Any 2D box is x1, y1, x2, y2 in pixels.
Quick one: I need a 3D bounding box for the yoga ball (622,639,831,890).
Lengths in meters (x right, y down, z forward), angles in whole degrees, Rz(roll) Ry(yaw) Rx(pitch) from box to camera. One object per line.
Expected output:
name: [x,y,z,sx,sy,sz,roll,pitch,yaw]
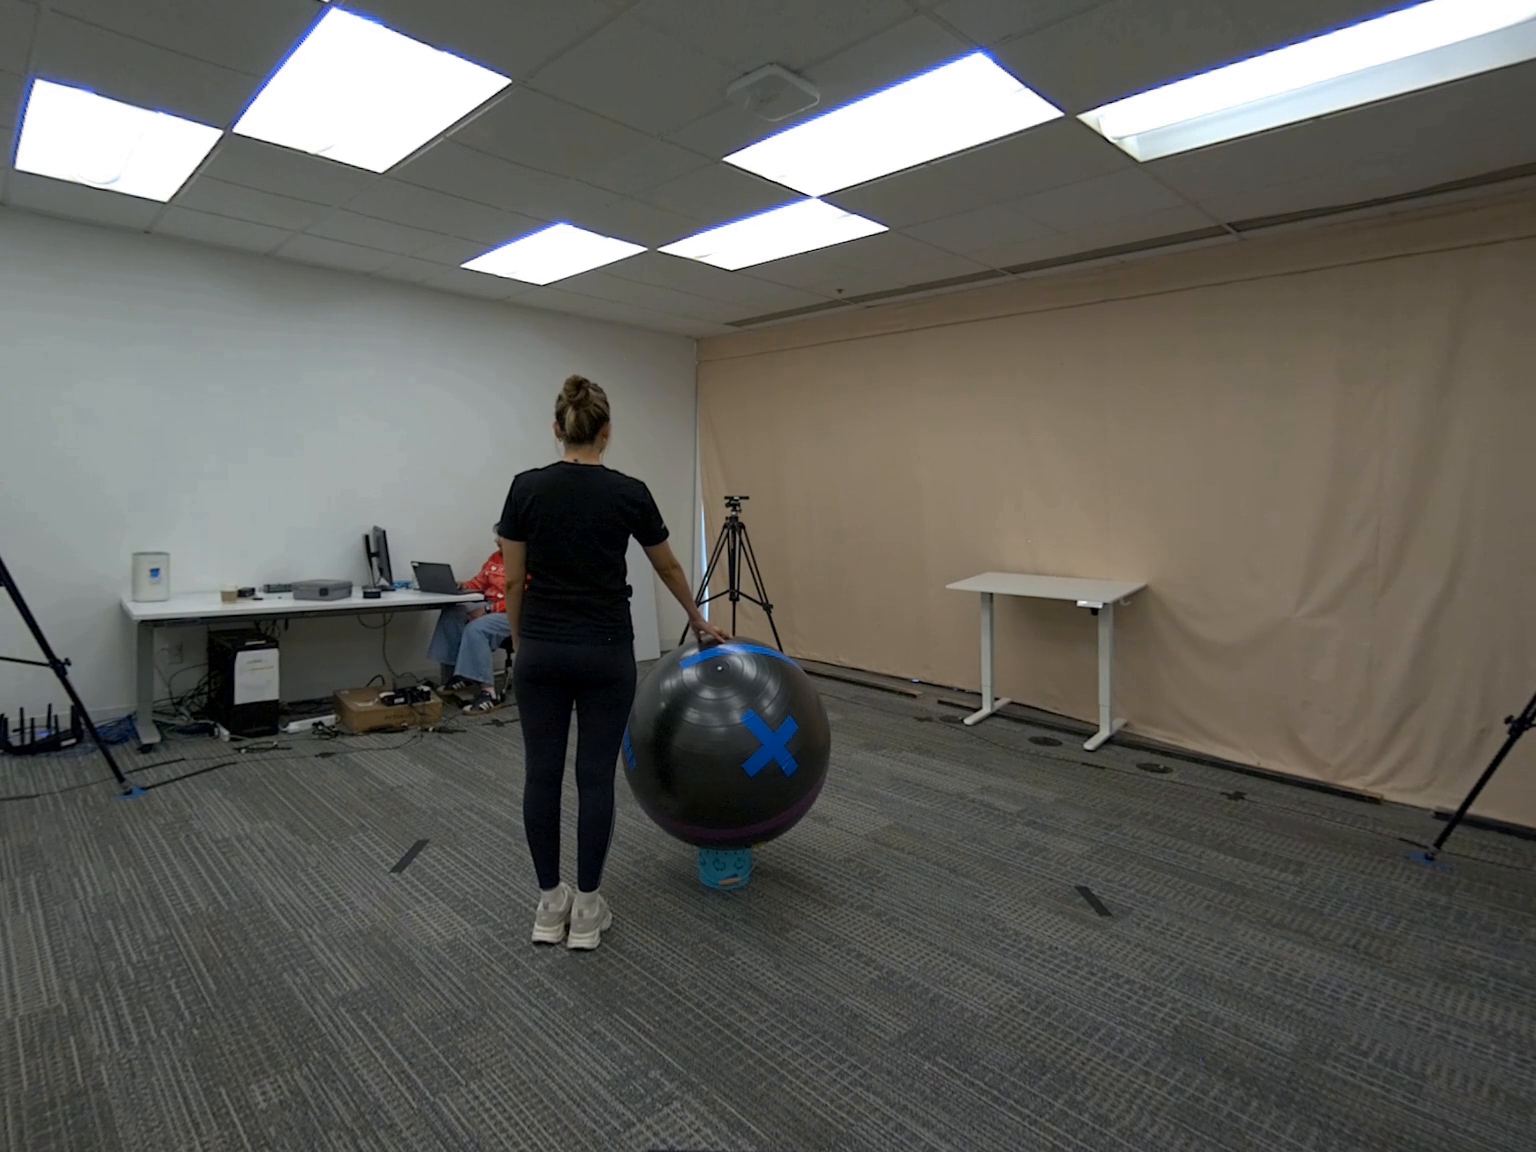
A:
yoga ball: [-0.157,0.605,3.046,0.757,0.756,0.761,1,4,-1]
